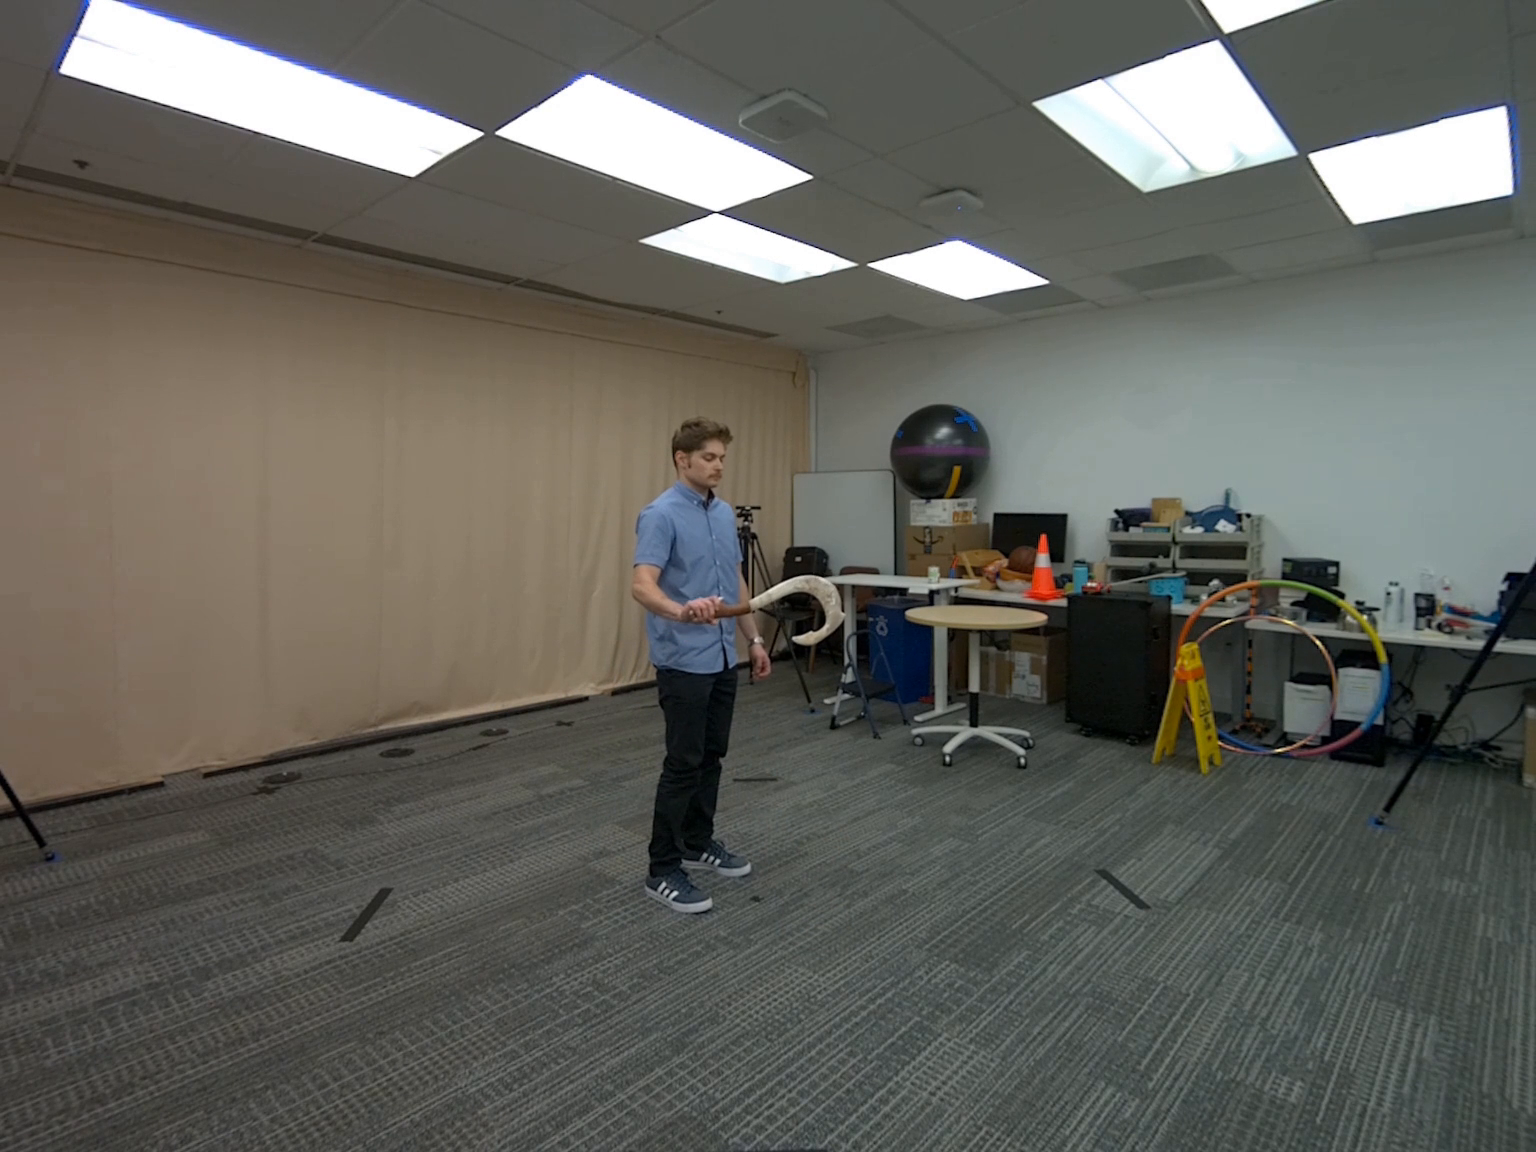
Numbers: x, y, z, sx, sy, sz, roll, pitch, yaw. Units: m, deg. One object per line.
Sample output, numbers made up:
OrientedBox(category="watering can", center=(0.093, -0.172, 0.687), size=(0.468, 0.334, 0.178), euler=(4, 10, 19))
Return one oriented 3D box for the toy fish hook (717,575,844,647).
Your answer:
OrientedBox(category="toy fish hook", center=(0.008, 0.139, 2.703), size=(0.503, 0.227, 0.048), euler=(-11, -15, -7))
